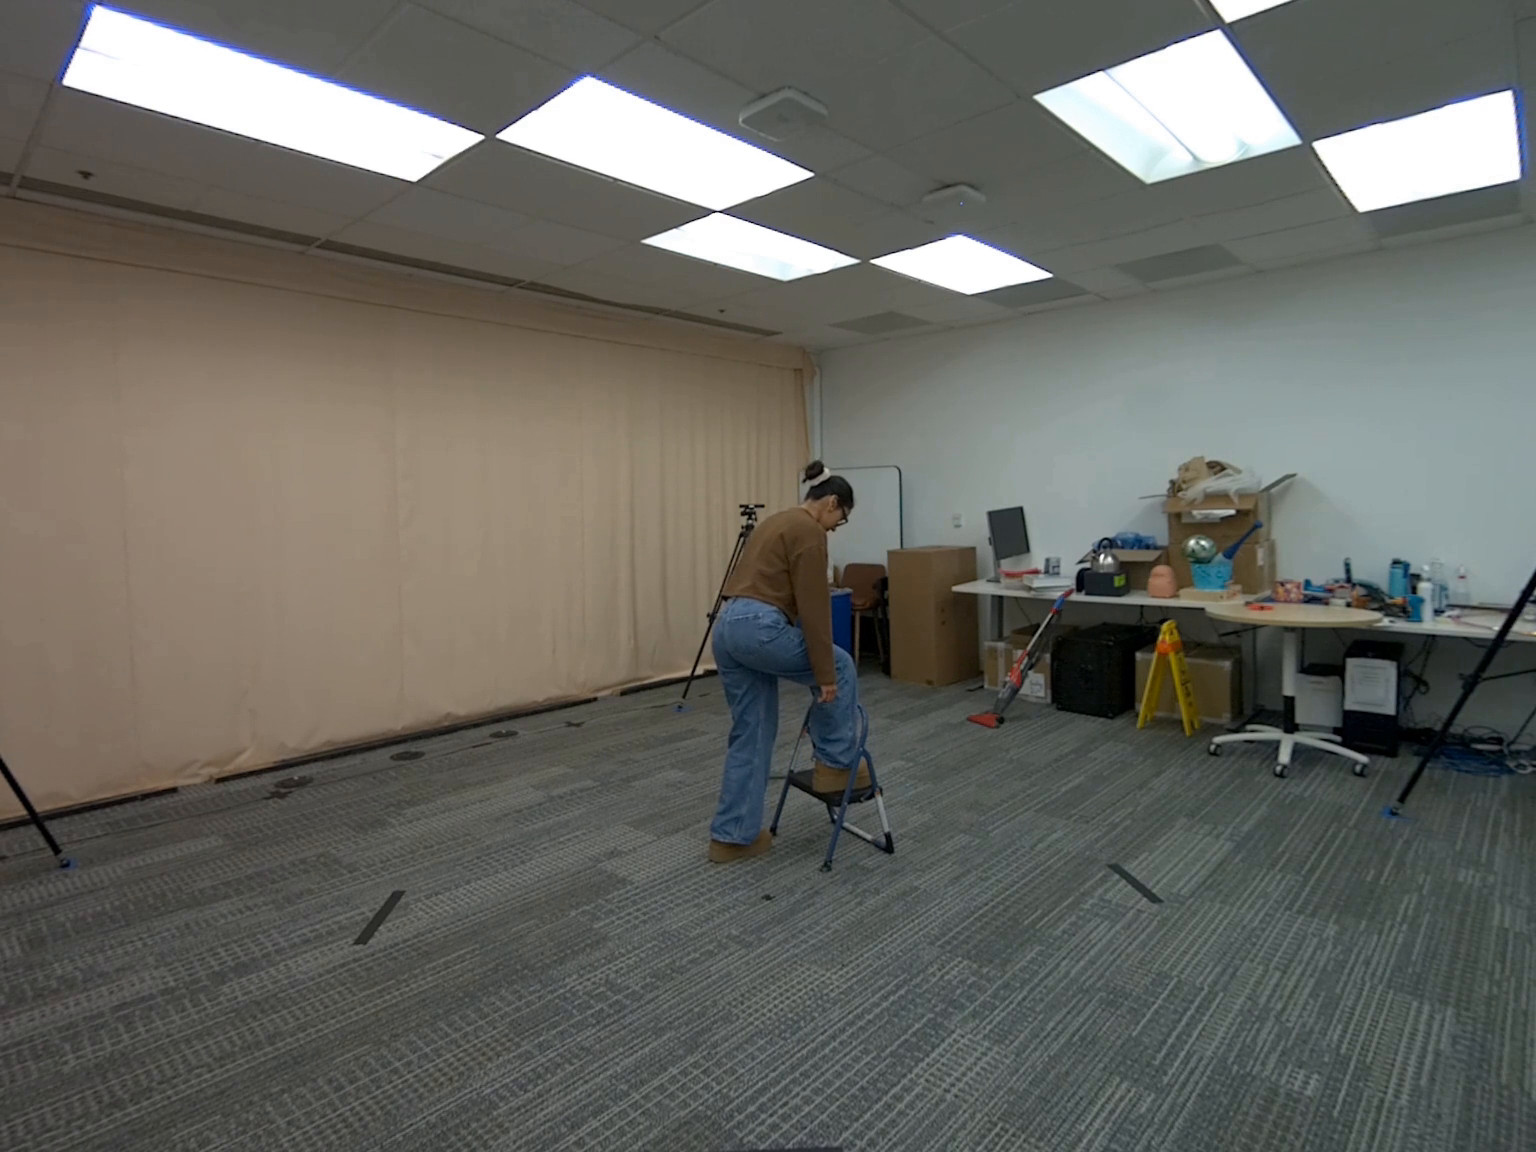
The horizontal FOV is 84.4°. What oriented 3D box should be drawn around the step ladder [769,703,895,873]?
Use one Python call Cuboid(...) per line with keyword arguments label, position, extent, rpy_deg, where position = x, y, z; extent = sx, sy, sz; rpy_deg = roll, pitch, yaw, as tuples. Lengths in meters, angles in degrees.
Cuboid(label="step ladder", position=(0.250, 0.795, 3.428), extent=(0.340, 0.605, 0.443), rpy_deg=(-3, 3, -30))
